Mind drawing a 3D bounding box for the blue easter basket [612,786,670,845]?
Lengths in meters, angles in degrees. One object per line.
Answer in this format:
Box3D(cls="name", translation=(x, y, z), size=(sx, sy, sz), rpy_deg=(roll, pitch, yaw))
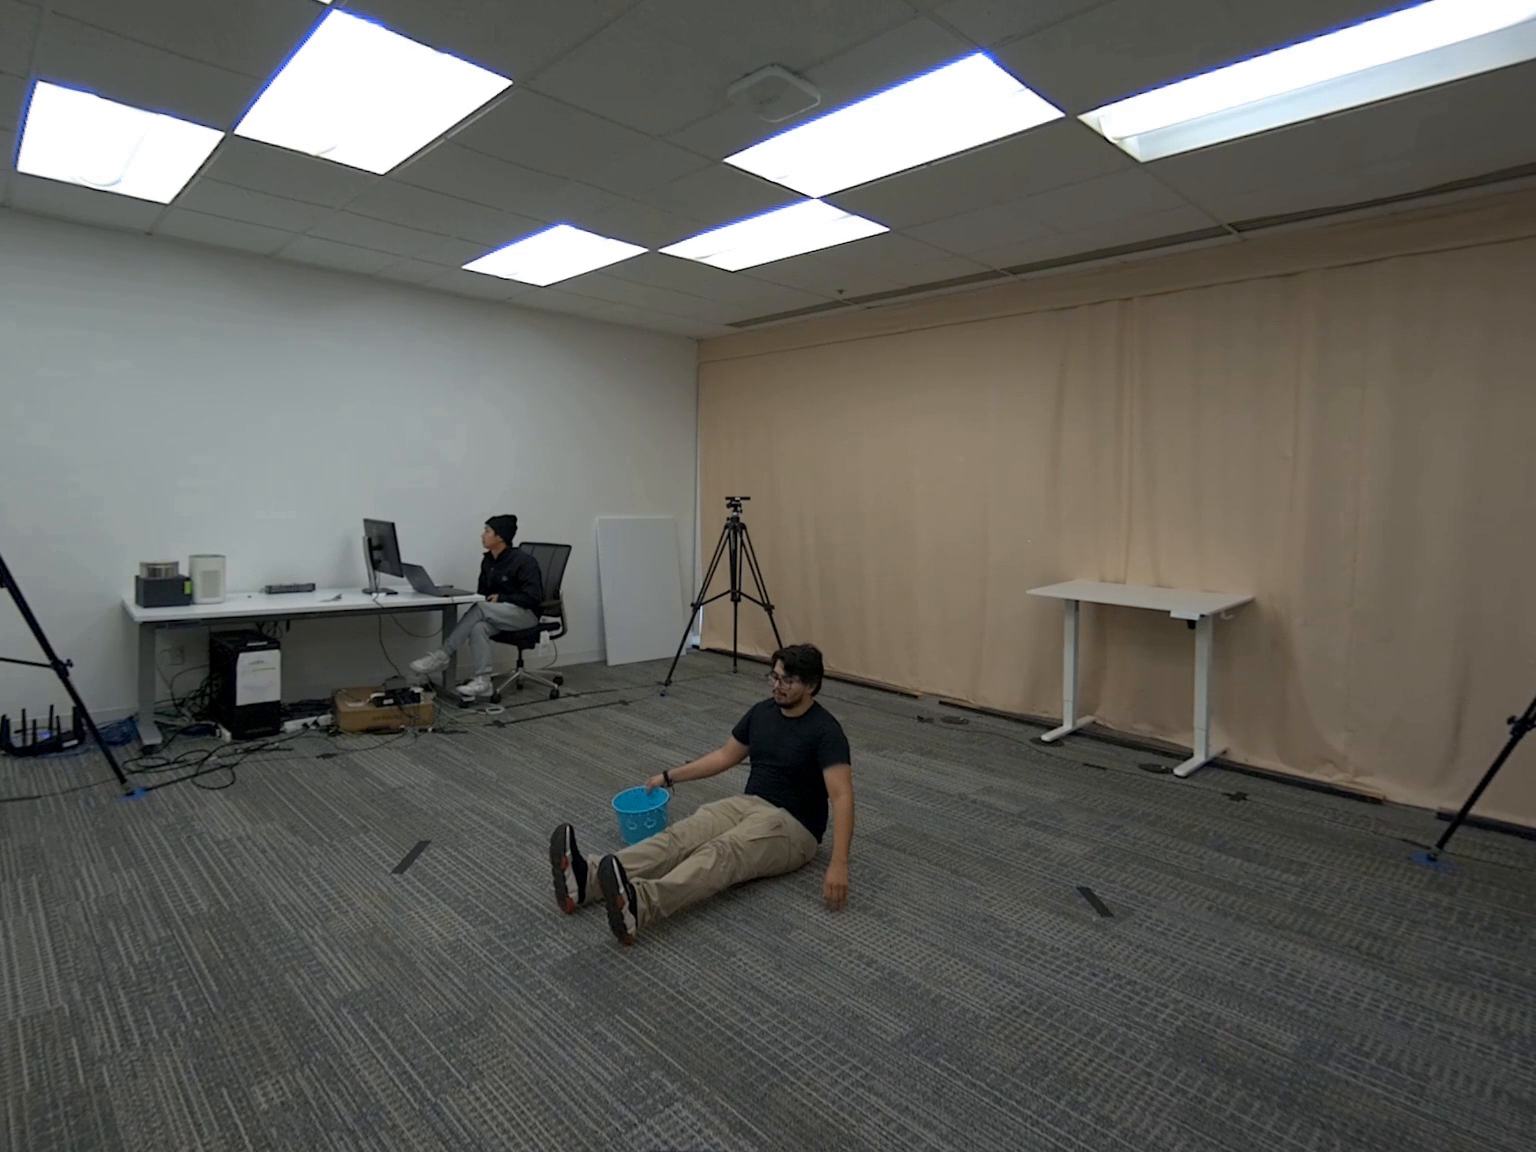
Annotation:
Box3D(cls="blue easter basket", translation=(-0.510, 0.970, 3.429), size=(0.243, 0.155, 0.245), rpy_deg=(-3, 9, -1))
